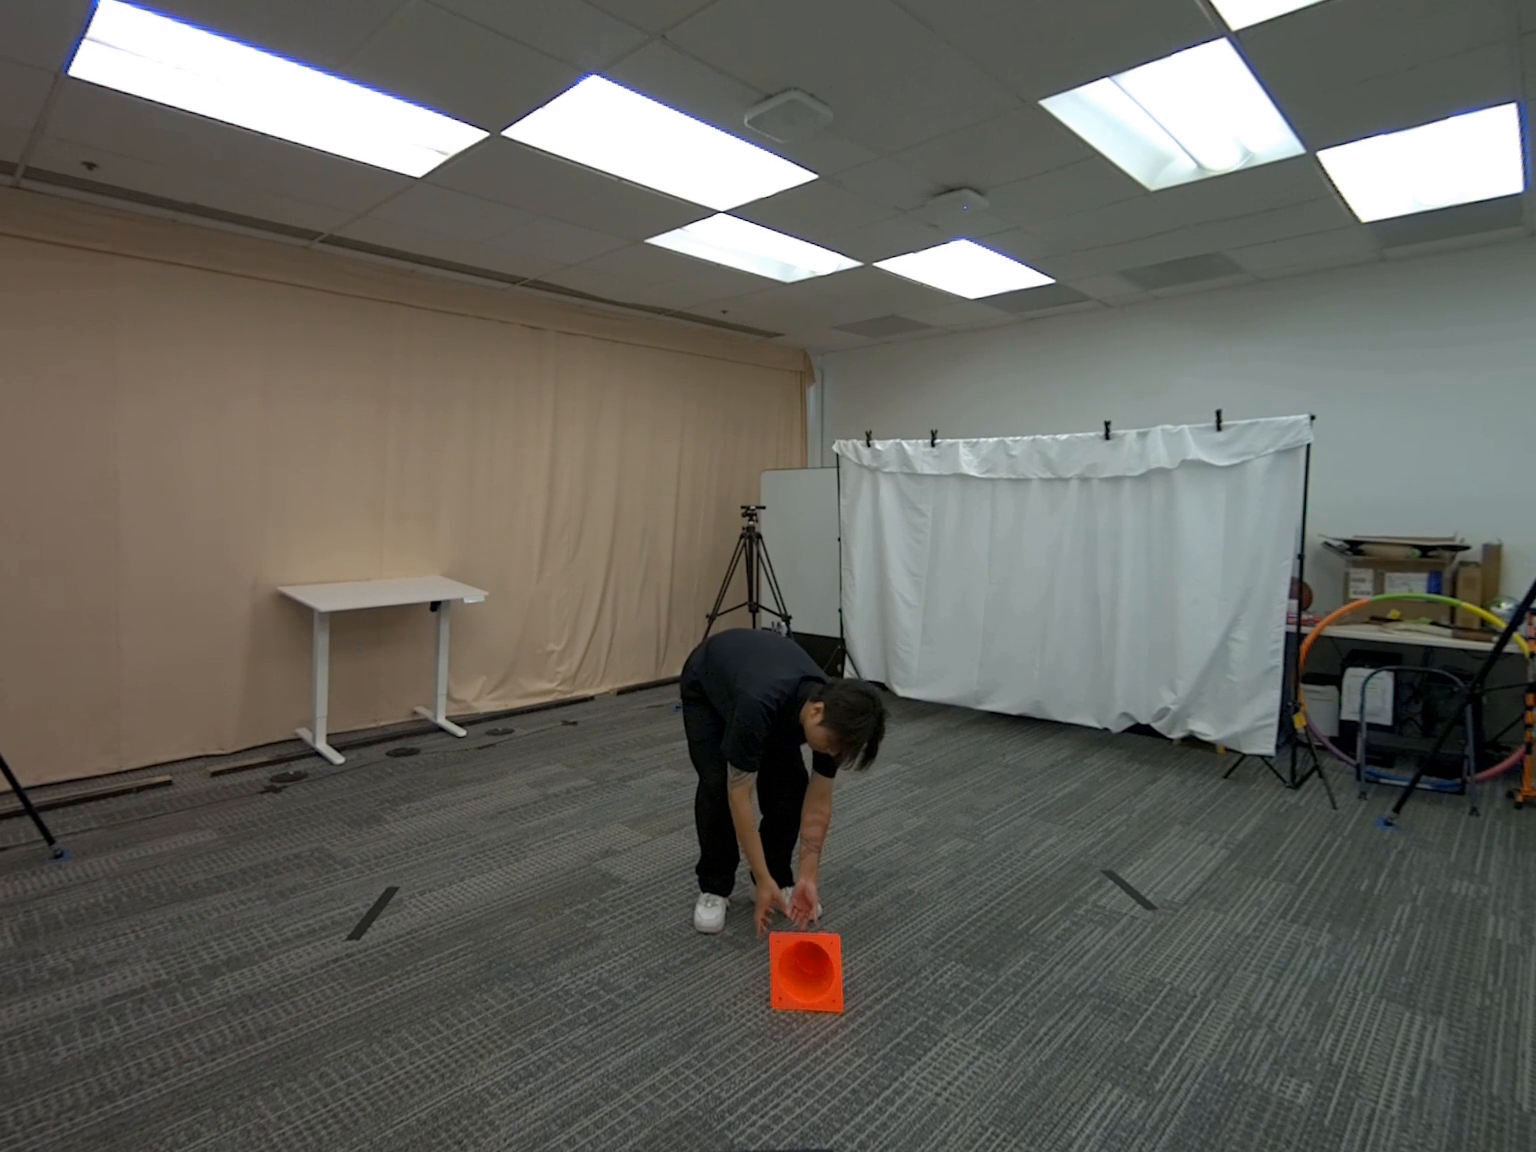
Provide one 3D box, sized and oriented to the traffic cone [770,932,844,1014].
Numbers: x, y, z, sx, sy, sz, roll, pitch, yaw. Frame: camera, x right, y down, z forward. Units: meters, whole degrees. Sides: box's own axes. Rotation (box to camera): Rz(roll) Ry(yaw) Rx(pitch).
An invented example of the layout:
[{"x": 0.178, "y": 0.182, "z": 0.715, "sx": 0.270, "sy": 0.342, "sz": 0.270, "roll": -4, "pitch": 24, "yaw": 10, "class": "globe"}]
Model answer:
[{"x": 0.136, "y": 1.127, "z": 2.512, "sx": 0.207, "sy": 0.204, "sz": 0.378, "roll": 0, "pitch": -9, "yaw": 8, "class": "traffic cone"}]
